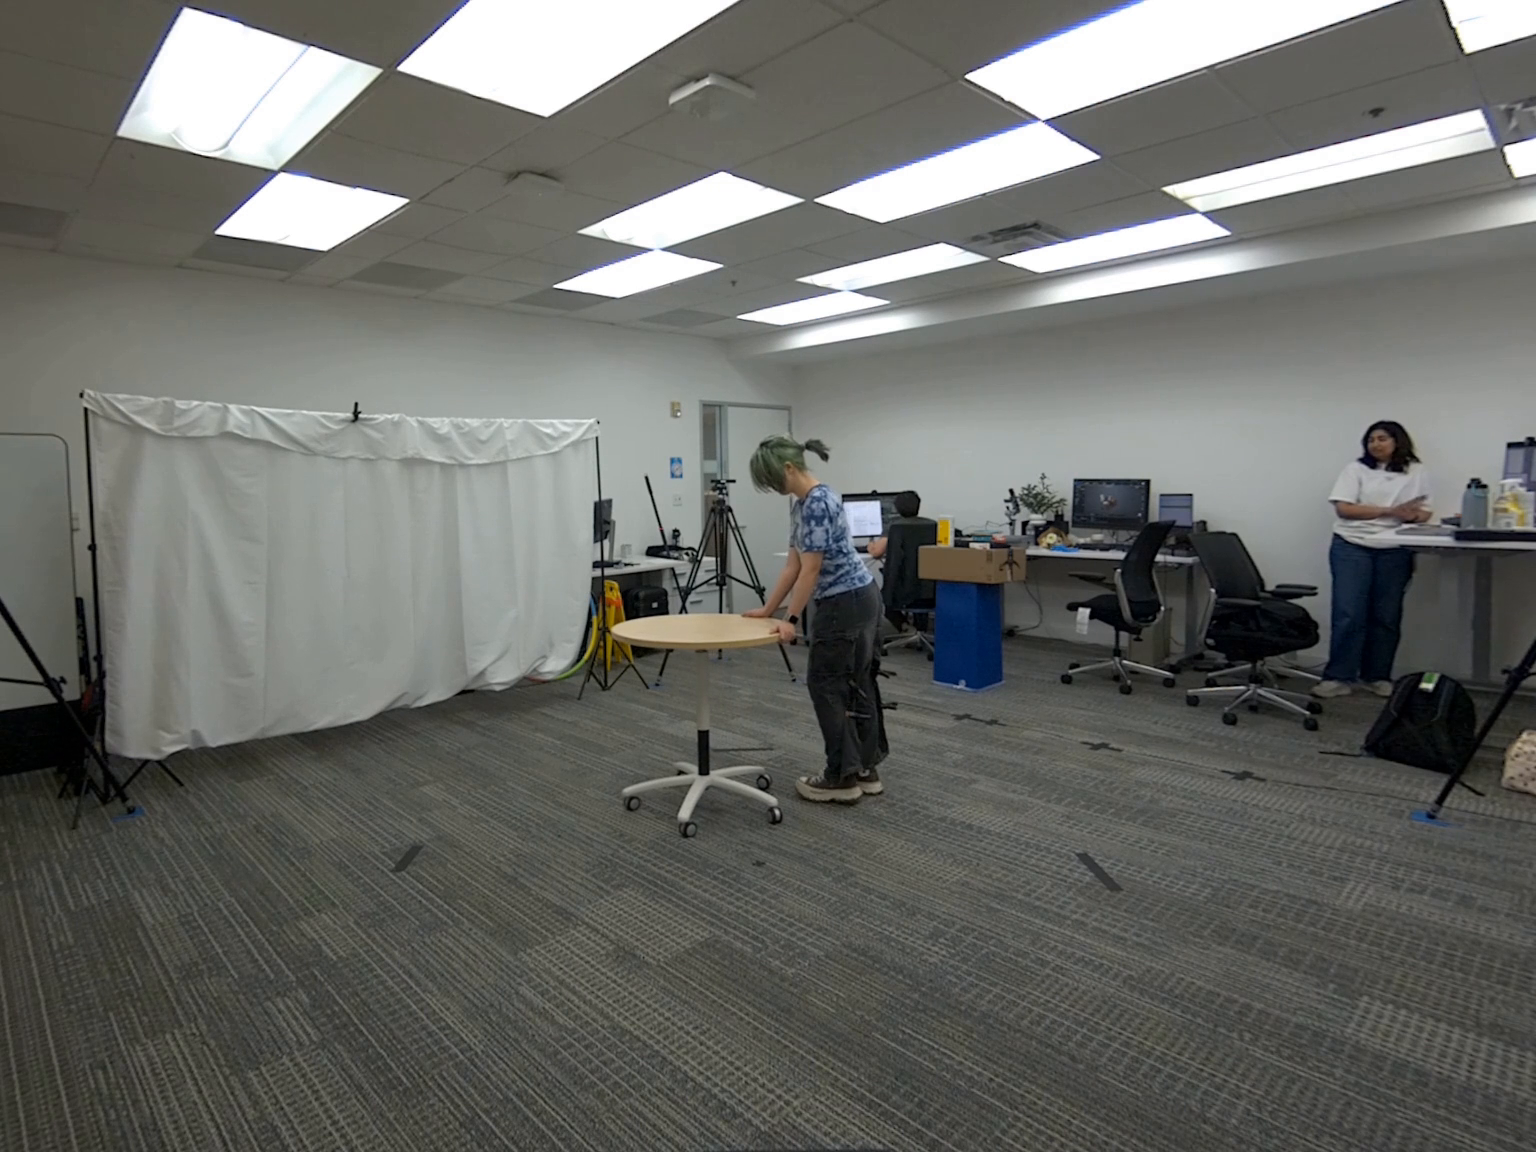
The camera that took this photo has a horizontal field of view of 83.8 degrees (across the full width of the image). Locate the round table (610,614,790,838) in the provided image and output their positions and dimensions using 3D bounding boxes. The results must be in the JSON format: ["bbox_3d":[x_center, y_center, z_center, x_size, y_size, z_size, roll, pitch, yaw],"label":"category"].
[{"bbox_3d":[-0.276,0.605,3.649,0.763,0.791,0.767,-1,4,-2],"label":"round table"}]
